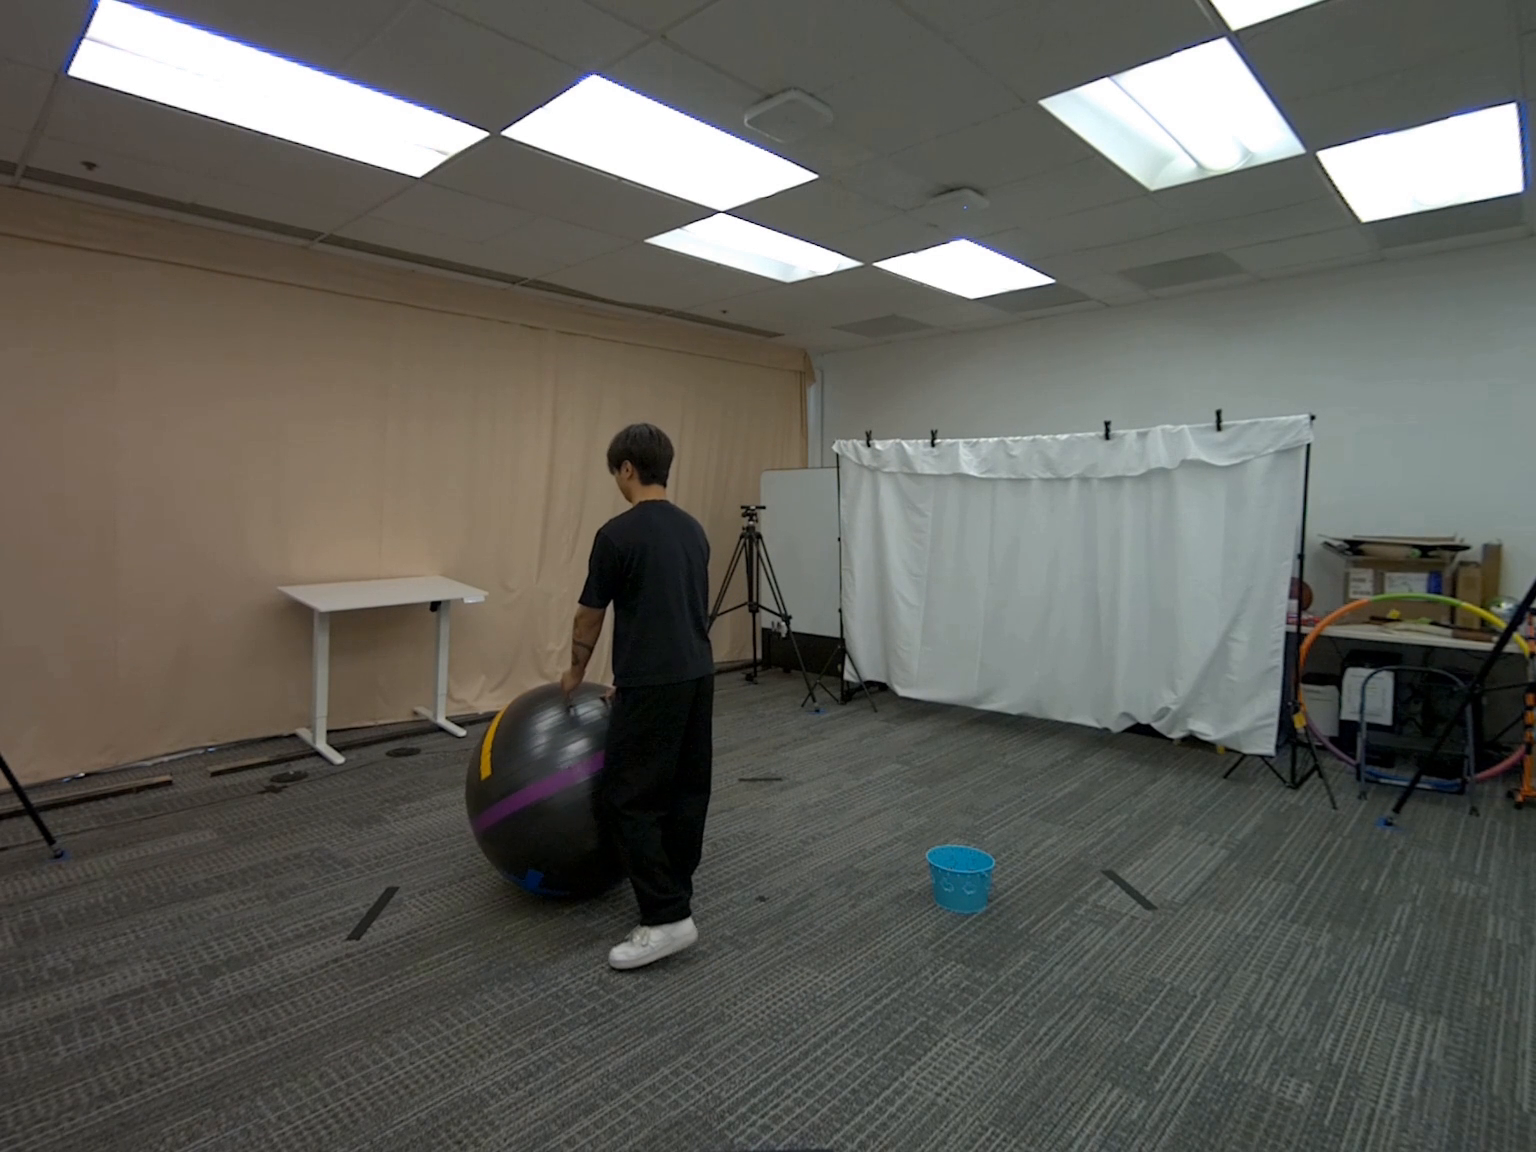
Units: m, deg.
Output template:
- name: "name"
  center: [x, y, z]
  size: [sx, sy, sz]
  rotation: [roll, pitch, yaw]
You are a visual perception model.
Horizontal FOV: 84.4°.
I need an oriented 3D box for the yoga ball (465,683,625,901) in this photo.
- name: "yoga ball"
  center: [-0.723, 0.775, 3.093]
  size: [0.757, 0.756, 0.760]
  rotation: [0, 4, -2]
